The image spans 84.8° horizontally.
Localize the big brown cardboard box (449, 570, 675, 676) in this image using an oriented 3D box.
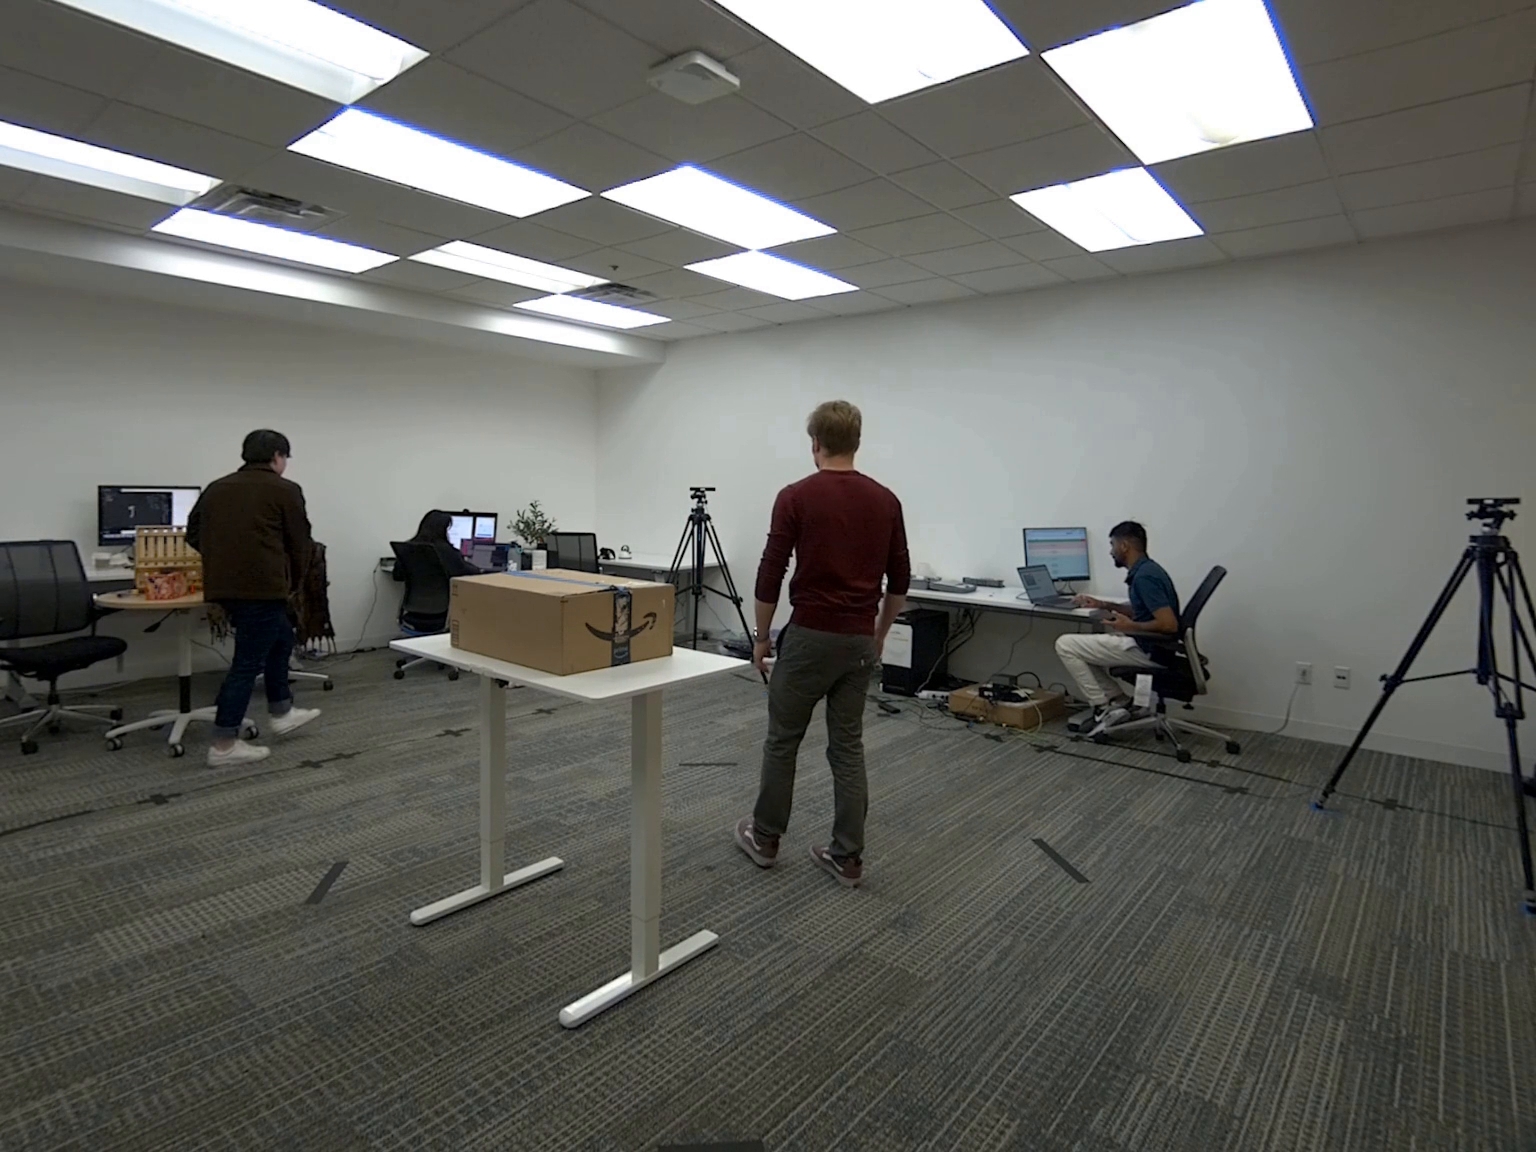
[{"bbox_3d":[-0.636,0.120,2.590,0.609,0.232,0.405,5,7,40],"label":"big brown cardboard box"}]
